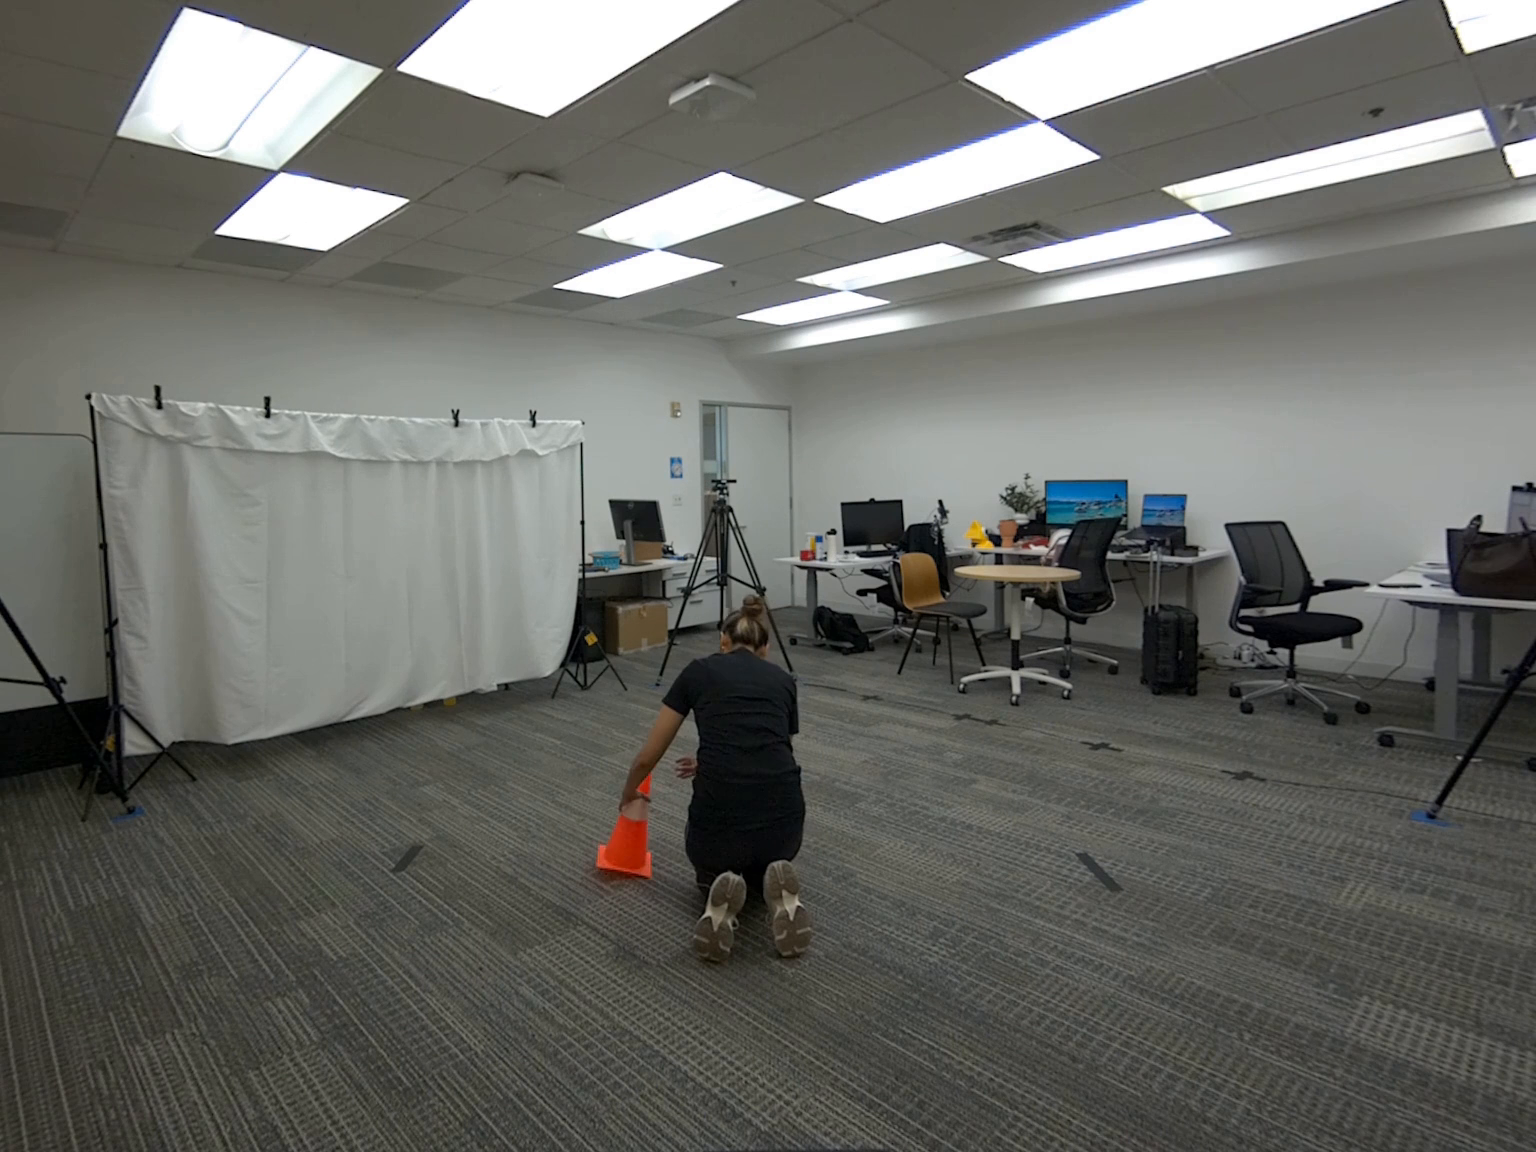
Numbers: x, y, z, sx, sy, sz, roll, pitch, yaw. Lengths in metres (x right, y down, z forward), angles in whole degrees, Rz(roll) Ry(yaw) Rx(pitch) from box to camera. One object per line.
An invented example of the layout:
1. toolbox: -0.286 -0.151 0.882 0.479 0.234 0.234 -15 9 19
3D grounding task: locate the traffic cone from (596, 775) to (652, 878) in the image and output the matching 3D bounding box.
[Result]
1. traffic cone: -0.470 0.854 3.096 0.202 0.383 0.206 13 2 -5
